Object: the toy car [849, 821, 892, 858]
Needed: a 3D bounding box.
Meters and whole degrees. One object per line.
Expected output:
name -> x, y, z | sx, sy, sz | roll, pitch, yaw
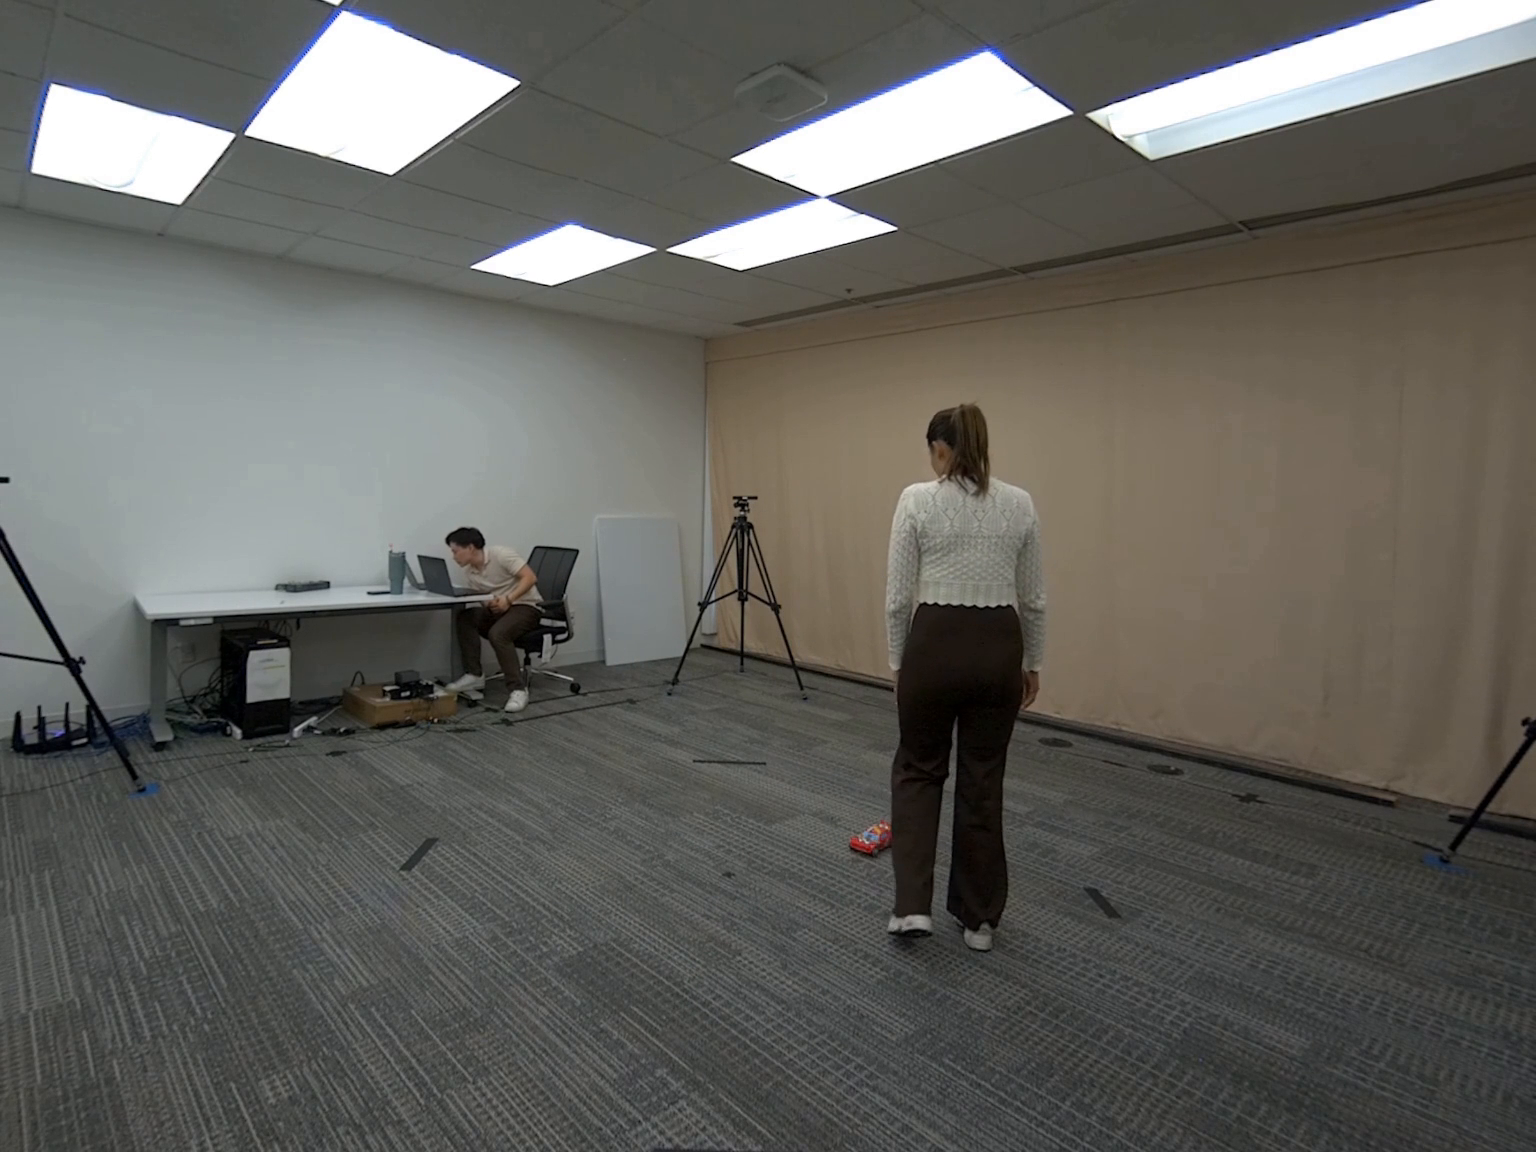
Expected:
toy car -> 0.435, 1.061, 3.395 | 0.133, 0.082, 0.250 | 5, 16, 40
